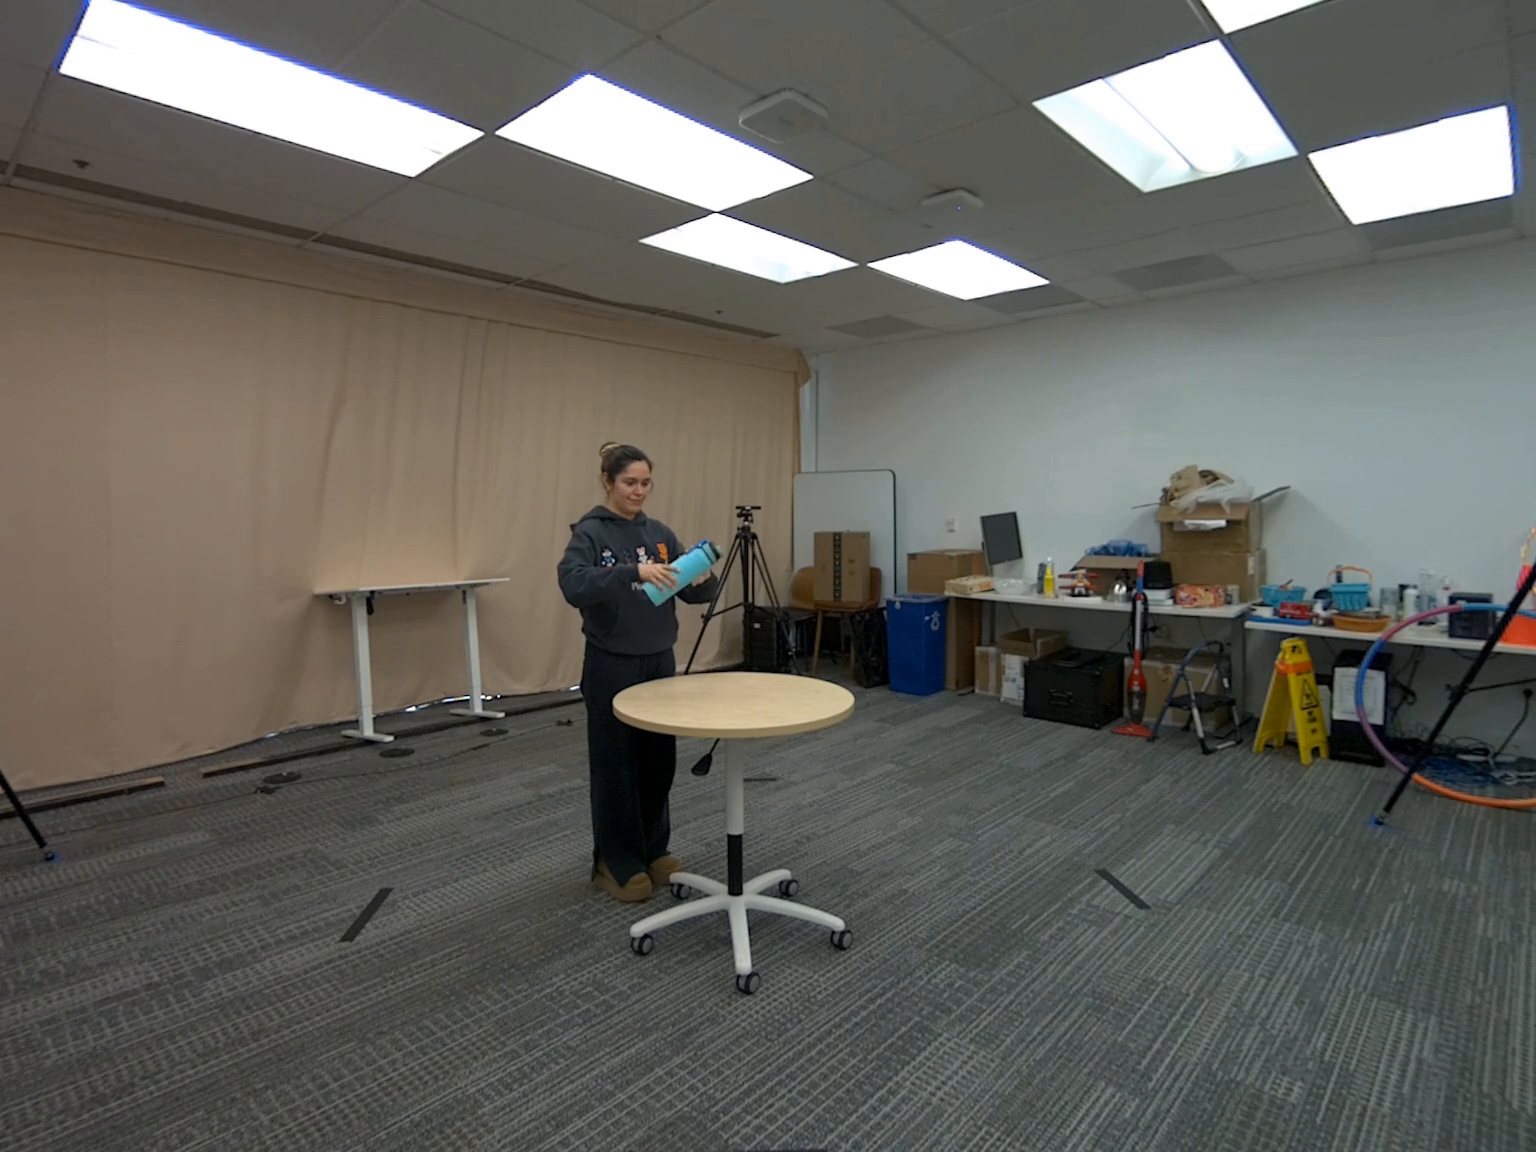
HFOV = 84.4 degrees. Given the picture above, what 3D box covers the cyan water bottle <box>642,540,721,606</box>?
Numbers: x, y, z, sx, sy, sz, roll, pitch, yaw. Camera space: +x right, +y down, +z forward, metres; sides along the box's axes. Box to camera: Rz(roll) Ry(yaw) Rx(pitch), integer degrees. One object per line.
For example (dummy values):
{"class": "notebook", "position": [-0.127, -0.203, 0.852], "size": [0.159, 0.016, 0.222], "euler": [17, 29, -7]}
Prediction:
{"class": "cyan water bottle", "position": [-0.272, -0.016, 2.779], "size": [0.283, 0.091, 0.093], "euler": [-36, 8, -3]}
